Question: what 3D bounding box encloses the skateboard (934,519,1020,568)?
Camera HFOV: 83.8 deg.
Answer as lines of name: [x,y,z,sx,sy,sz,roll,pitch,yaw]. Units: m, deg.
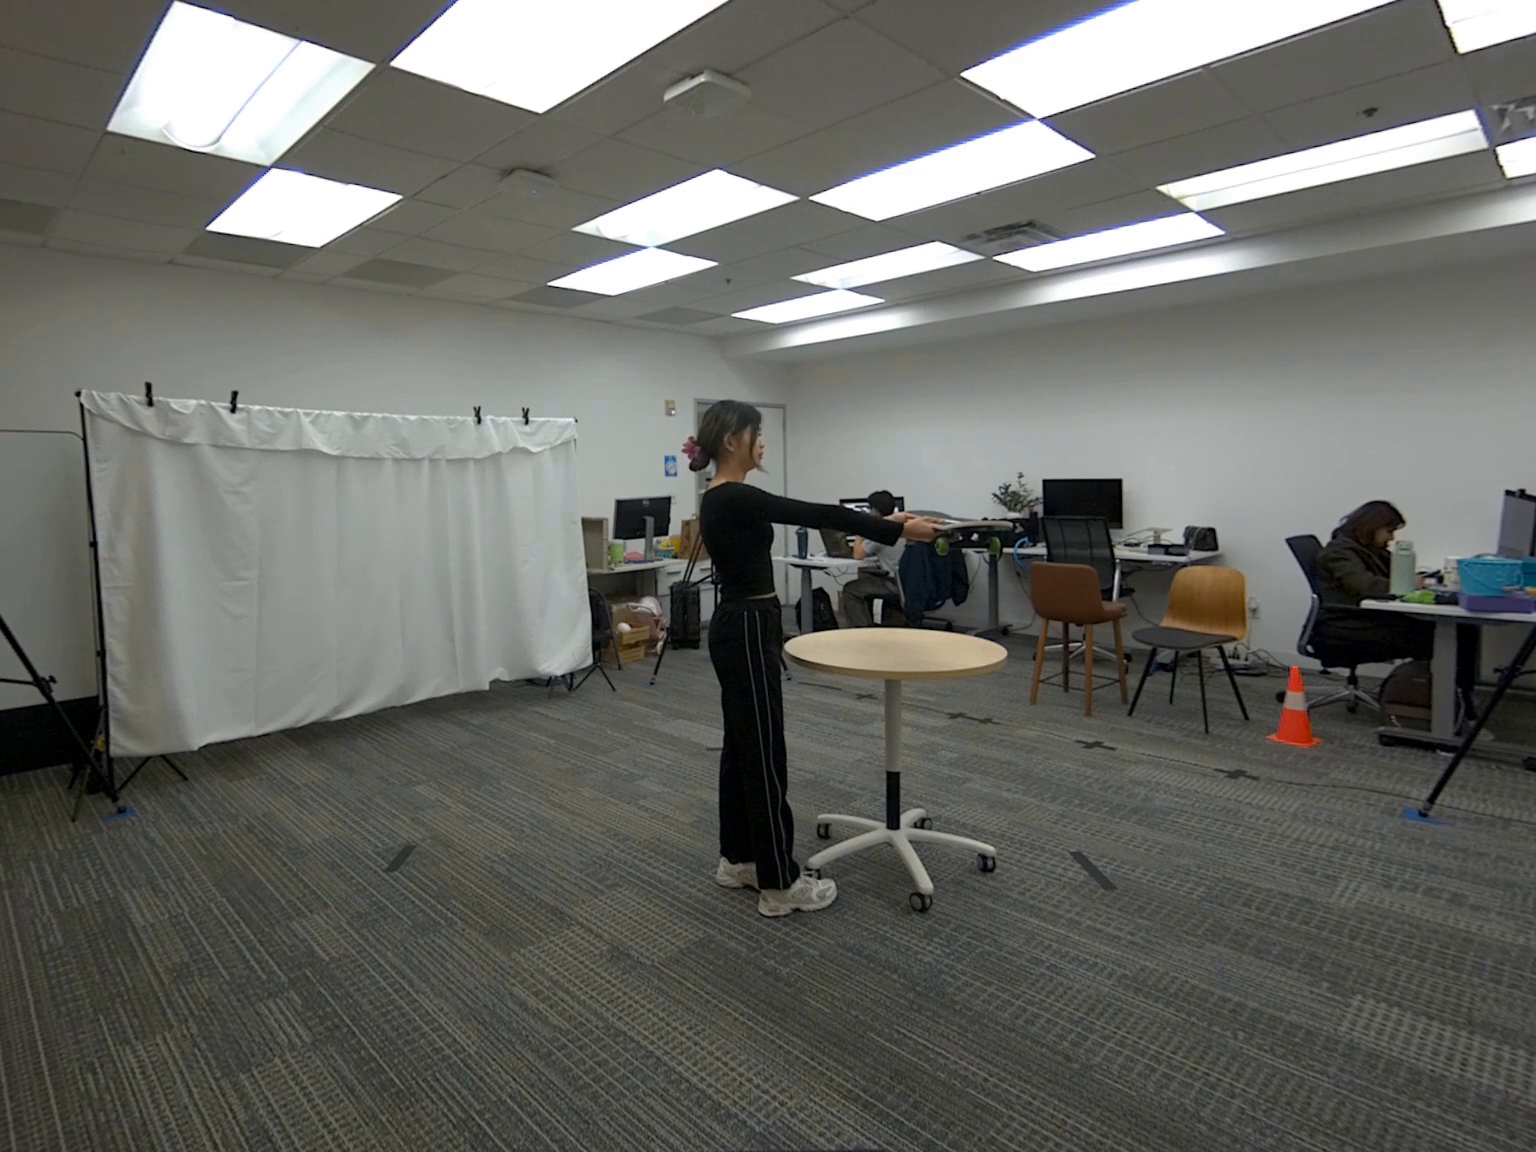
skateboard: [0.596,-0.140,2.754,0.192,0.110,0.792,0,6,-6]
